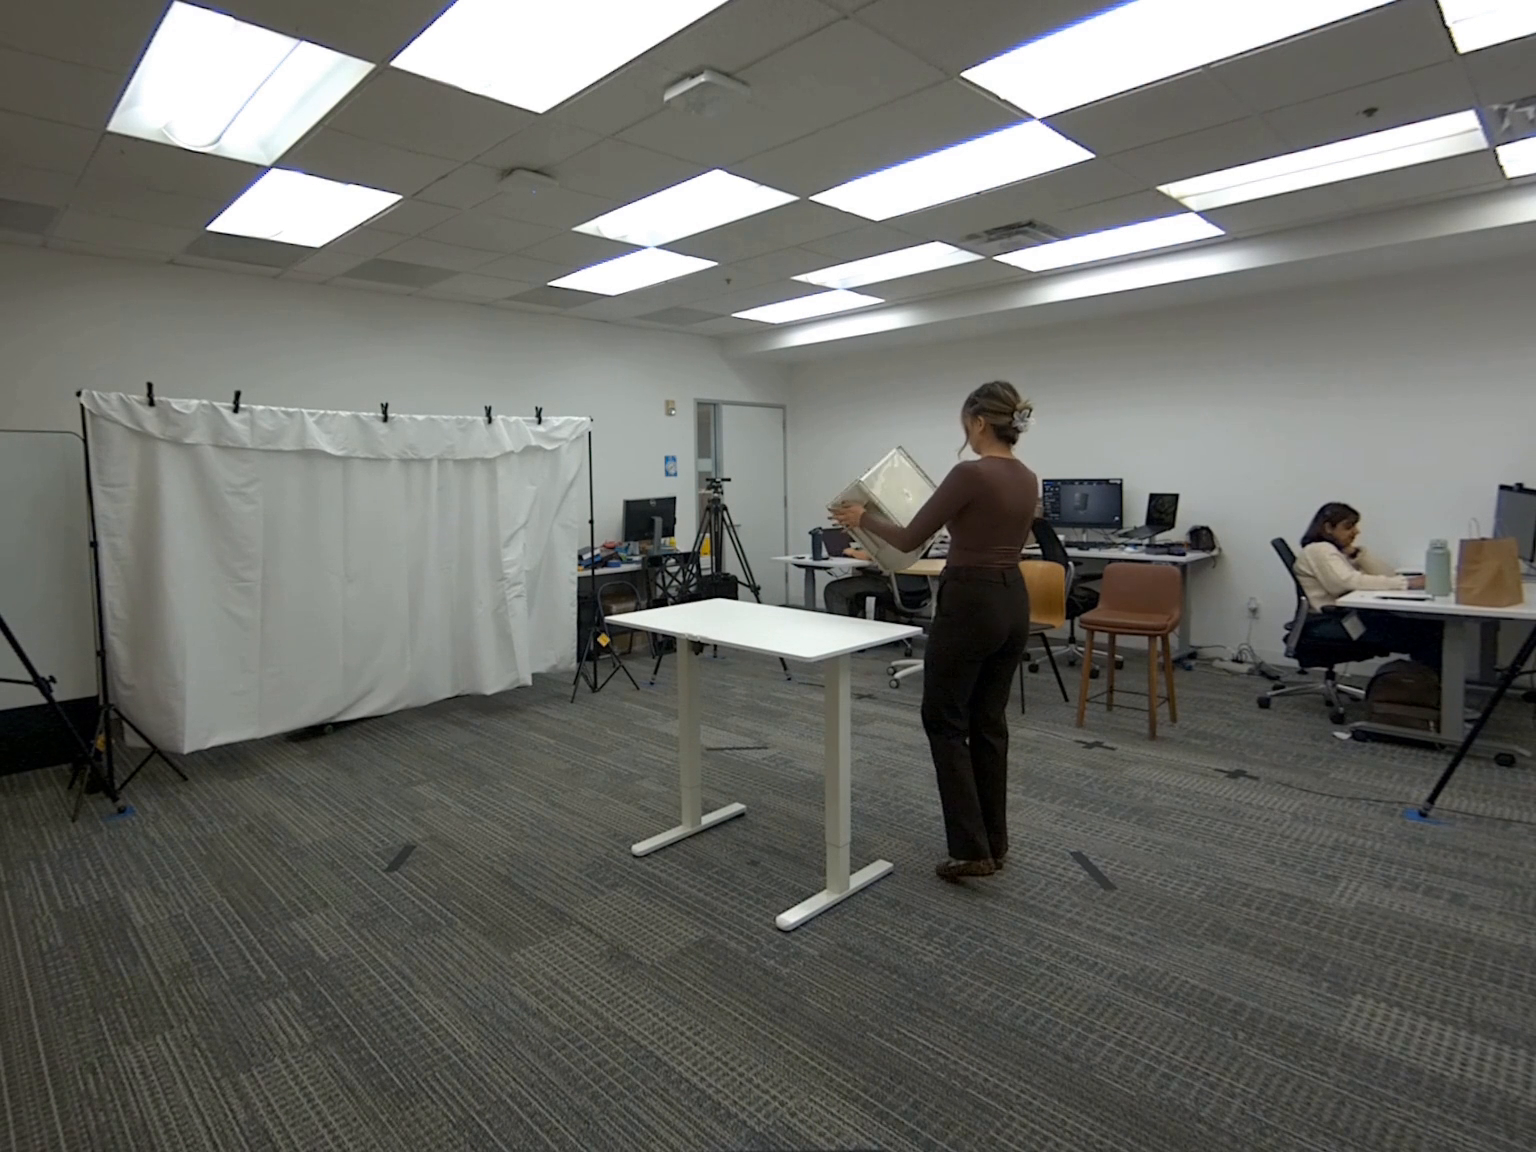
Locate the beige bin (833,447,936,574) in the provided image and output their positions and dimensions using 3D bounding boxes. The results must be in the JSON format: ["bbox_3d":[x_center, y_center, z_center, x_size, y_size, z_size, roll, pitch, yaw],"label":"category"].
[{"bbox_3d":[0.495,-0.255,3.345,0.420,0.379,0.189,-39,-2,-46],"label":"beige bin"}]
